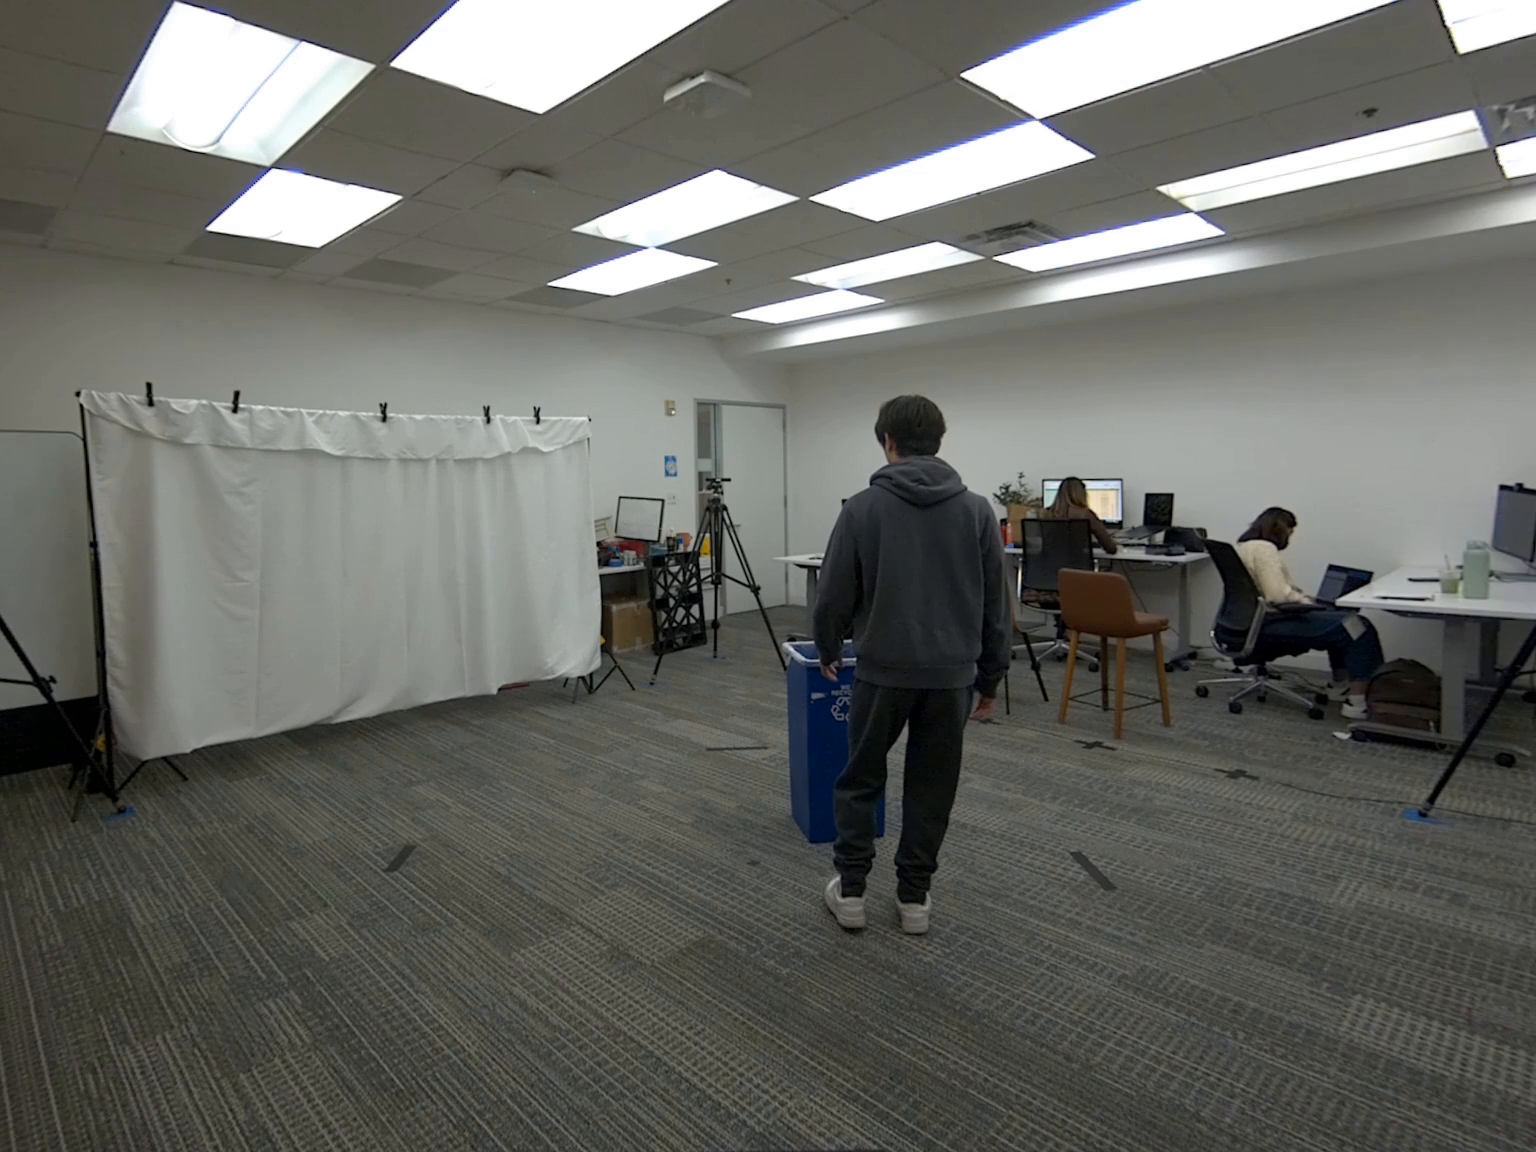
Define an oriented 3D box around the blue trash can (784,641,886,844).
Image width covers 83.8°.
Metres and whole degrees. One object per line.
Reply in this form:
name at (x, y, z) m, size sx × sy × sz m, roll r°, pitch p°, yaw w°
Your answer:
blue trash can at (0.278, 0.642, 3.414) m, size 0.370 × 0.710 × 0.383 m, roll -2°, pitch 5°, yaw -11°
